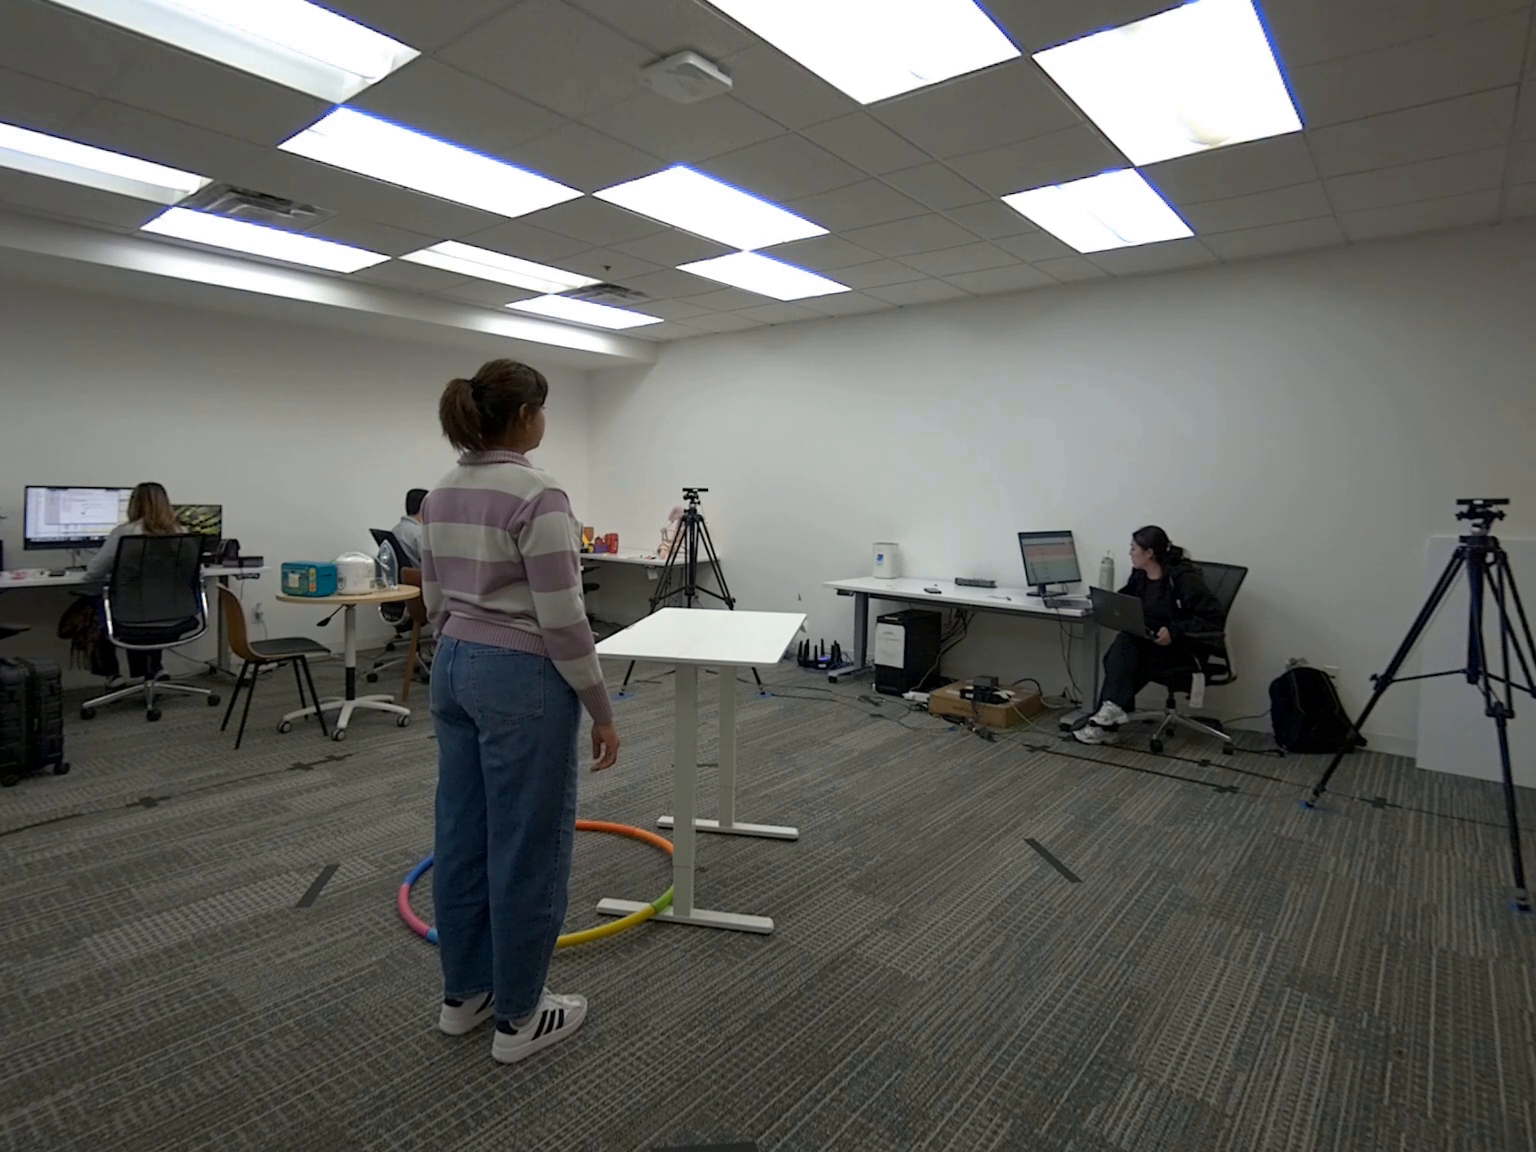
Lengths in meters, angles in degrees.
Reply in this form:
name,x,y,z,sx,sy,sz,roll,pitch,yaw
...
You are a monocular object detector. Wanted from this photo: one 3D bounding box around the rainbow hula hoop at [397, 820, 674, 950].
name,x,y,z,sx,sy,sz,roll,pitch,yaw
rainbow hula hoop,-0.790,1.041,2.979,0.978,0.035,0.983,-1,5,-2
